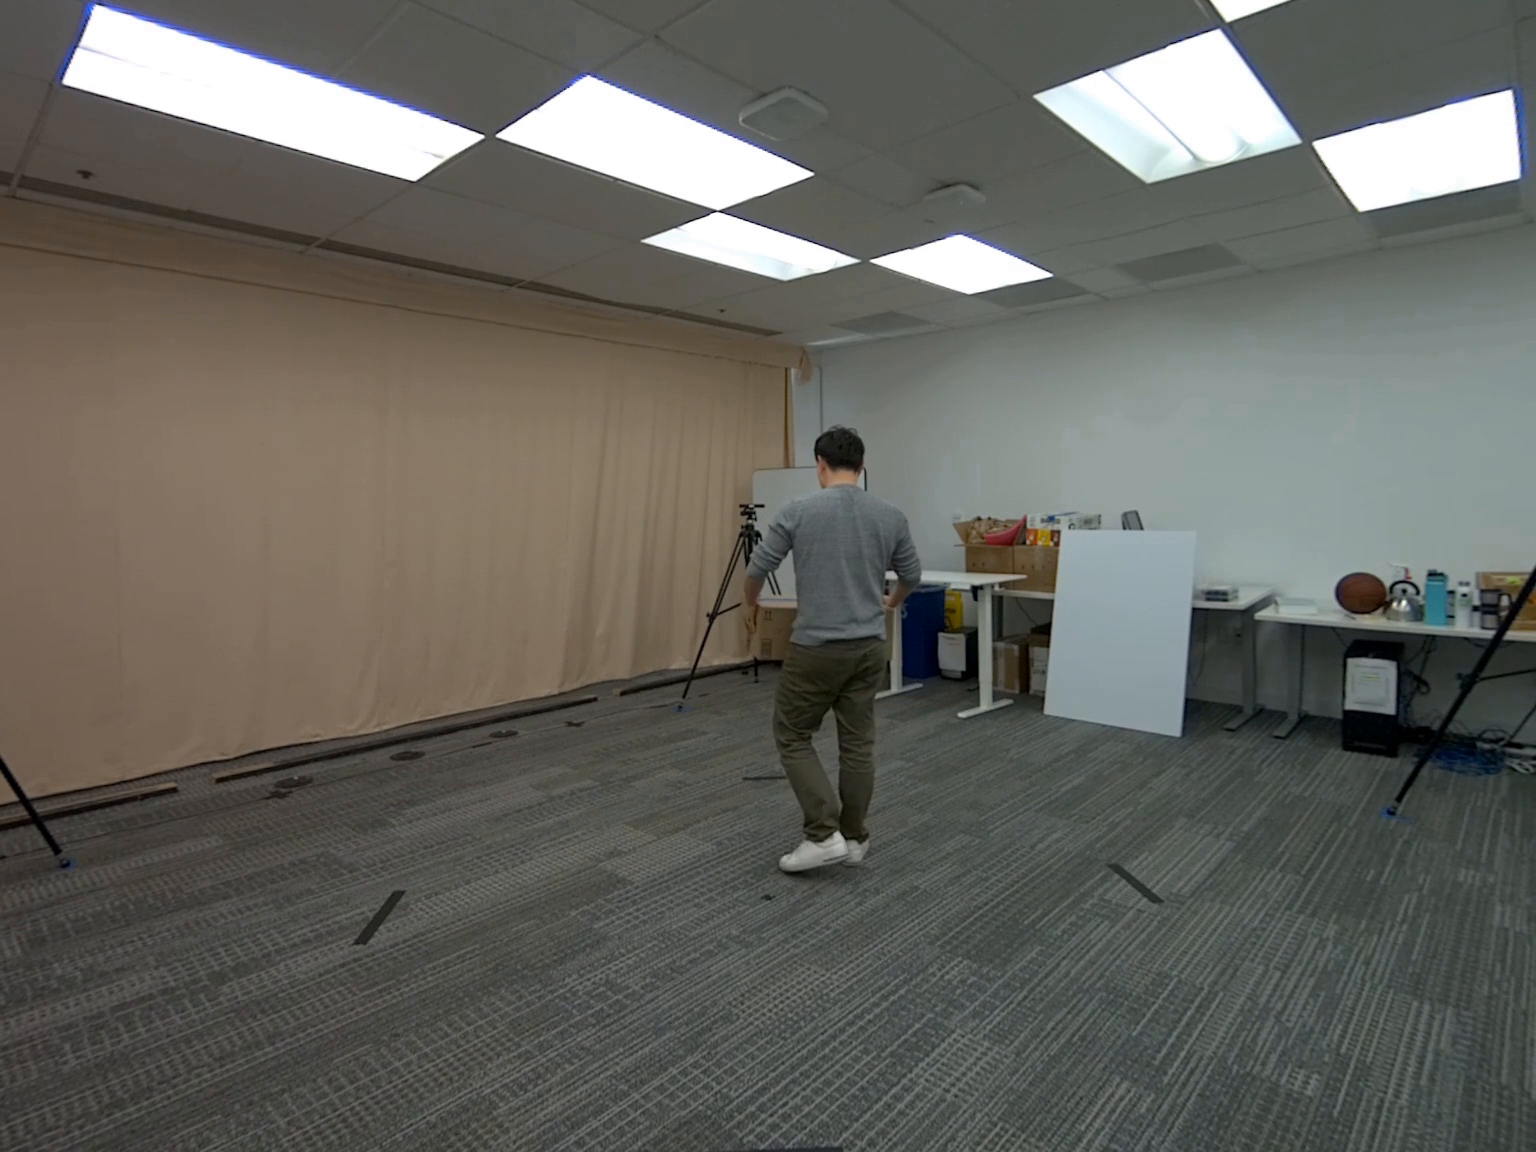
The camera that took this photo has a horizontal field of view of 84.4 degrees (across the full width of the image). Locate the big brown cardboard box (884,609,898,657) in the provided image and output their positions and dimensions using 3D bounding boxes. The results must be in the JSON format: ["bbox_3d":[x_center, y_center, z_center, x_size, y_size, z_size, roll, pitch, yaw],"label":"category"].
[{"bbox_3d":[0.190,0.206,3.585,0.582,0.232,0.423,1,5,-11],"label":"big brown cardboard box"}]
